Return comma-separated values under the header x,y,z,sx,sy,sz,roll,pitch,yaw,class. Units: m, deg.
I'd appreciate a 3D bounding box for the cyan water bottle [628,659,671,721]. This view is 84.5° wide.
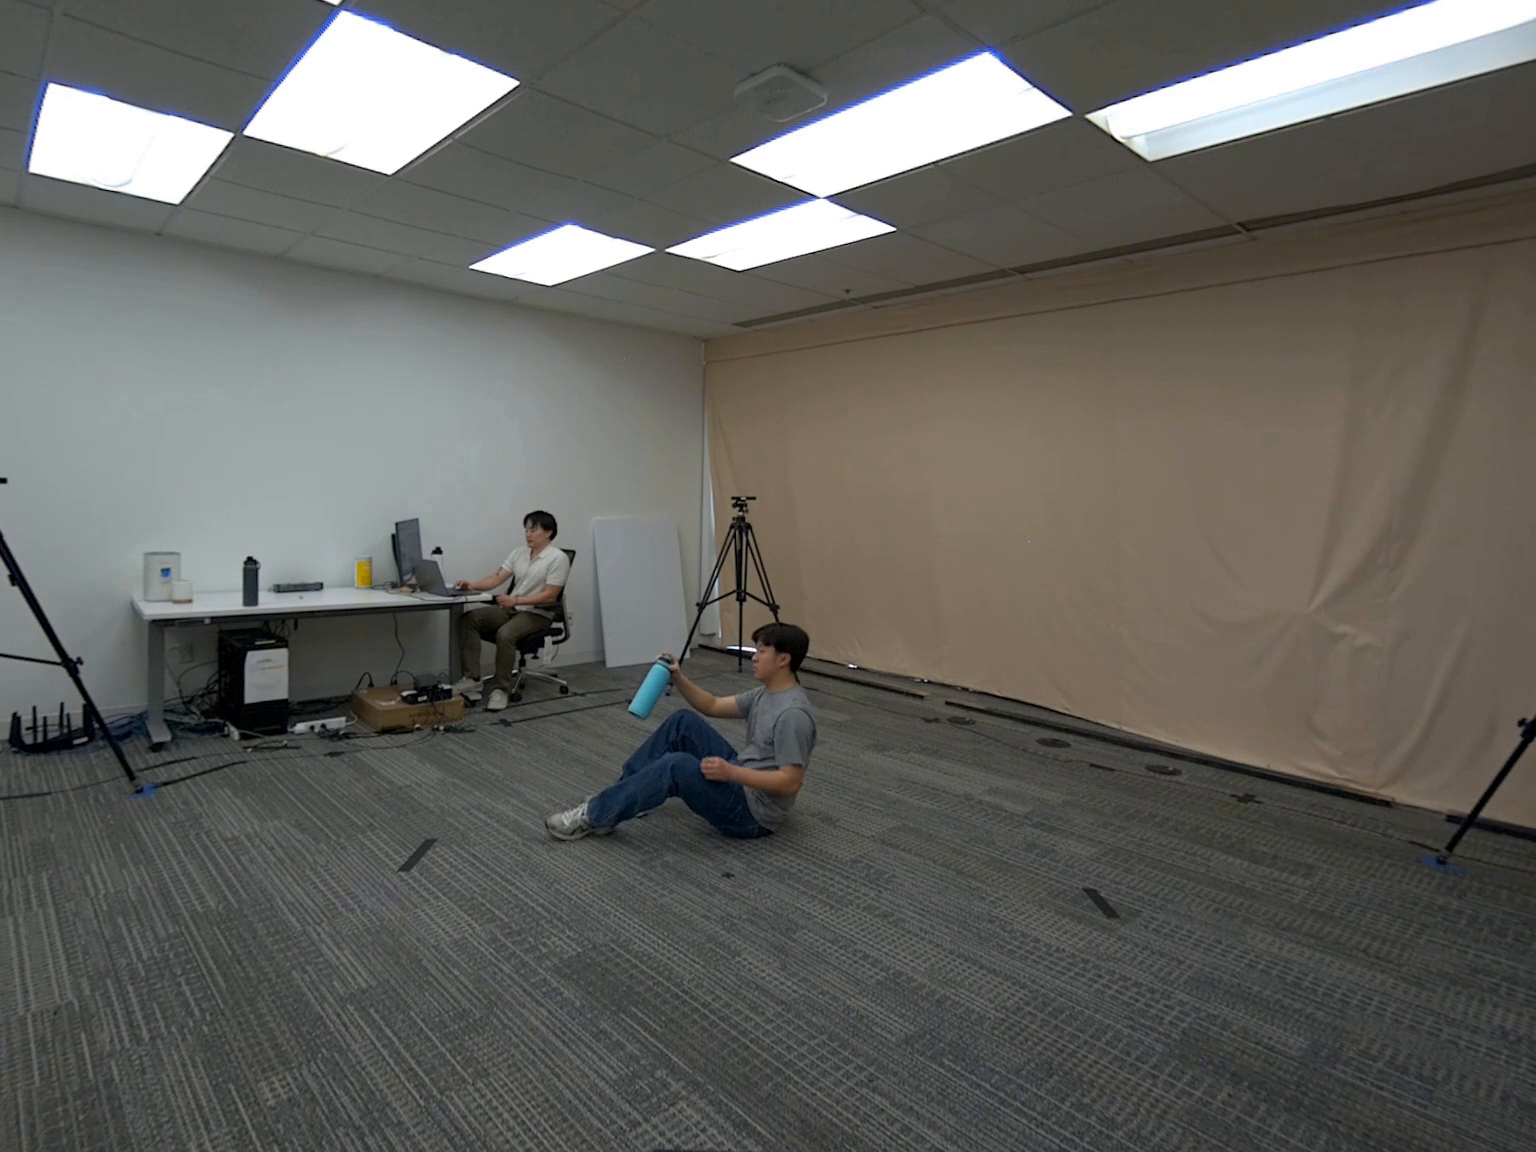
x,y,z,sx,sy,sz,roll,pitch,yaw,class
-0.502,0.468,3.570,0.093,0.285,0.091,21,-22,7,cyan water bottle
